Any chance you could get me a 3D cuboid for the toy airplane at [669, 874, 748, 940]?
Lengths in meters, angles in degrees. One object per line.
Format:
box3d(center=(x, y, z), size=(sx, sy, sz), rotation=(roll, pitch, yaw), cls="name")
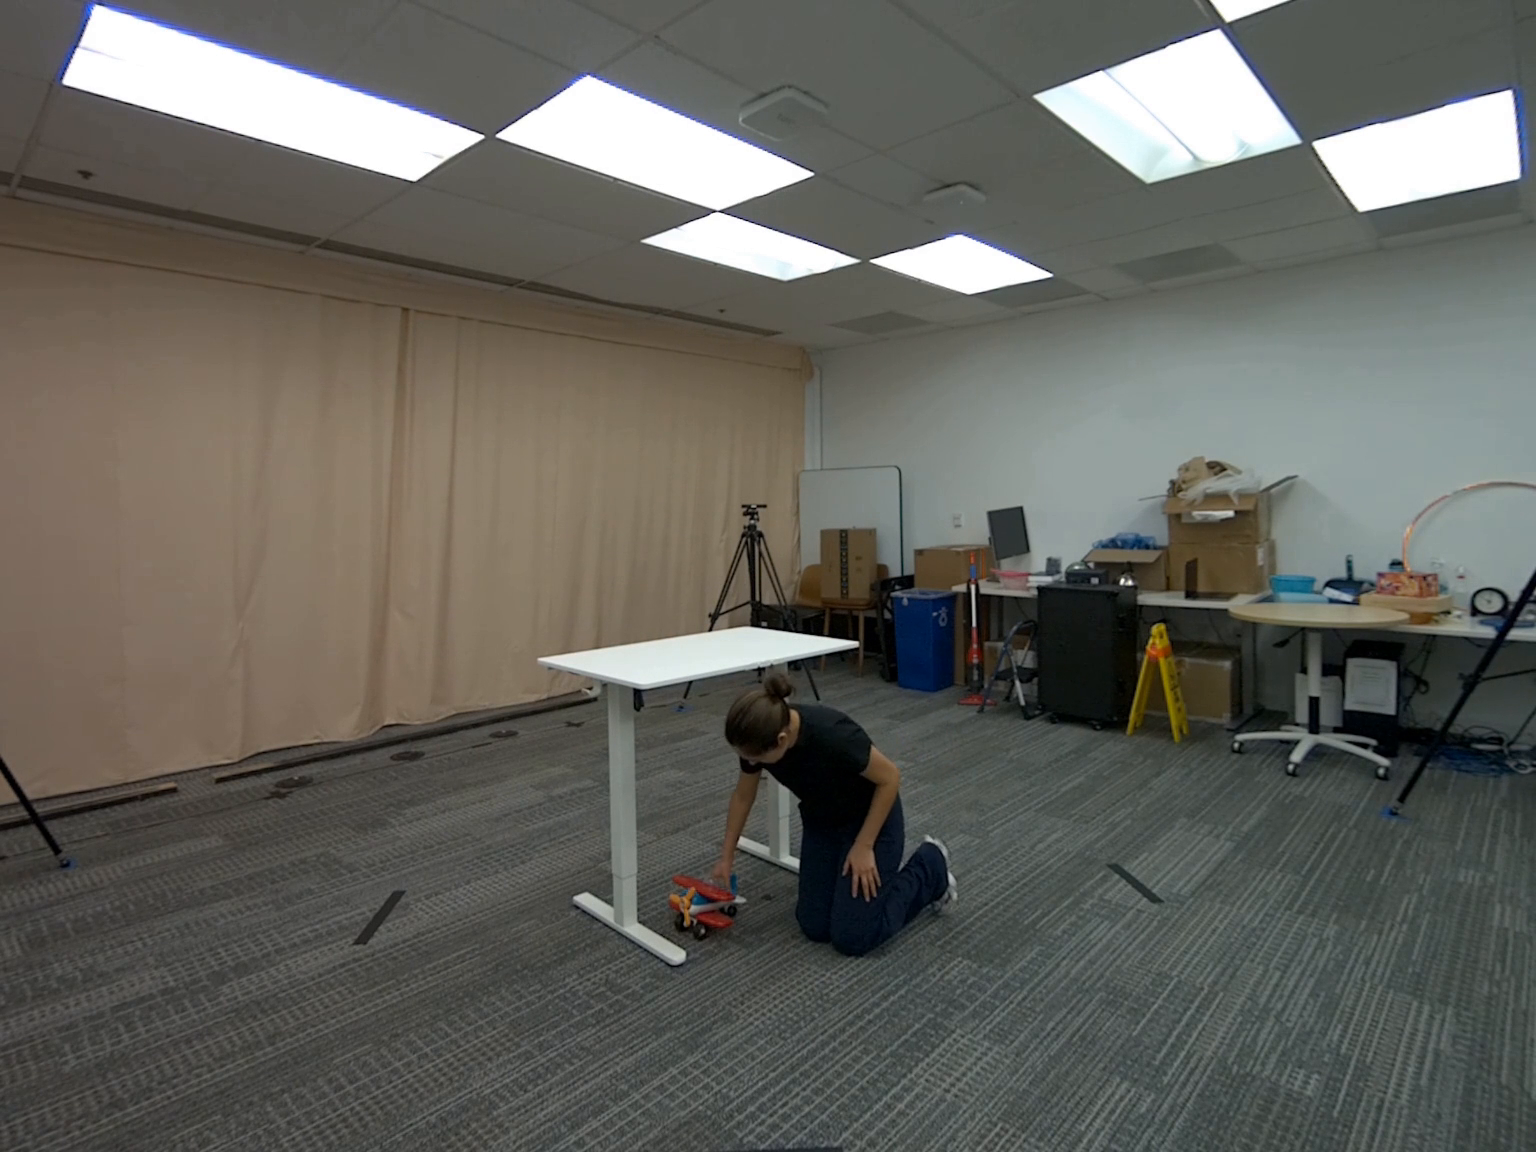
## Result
box3d(center=(-0.191, 1.093, 2.800), size=(0.255, 0.156, 0.256), rotation=(0, 6, 12), cls="toy airplane")
